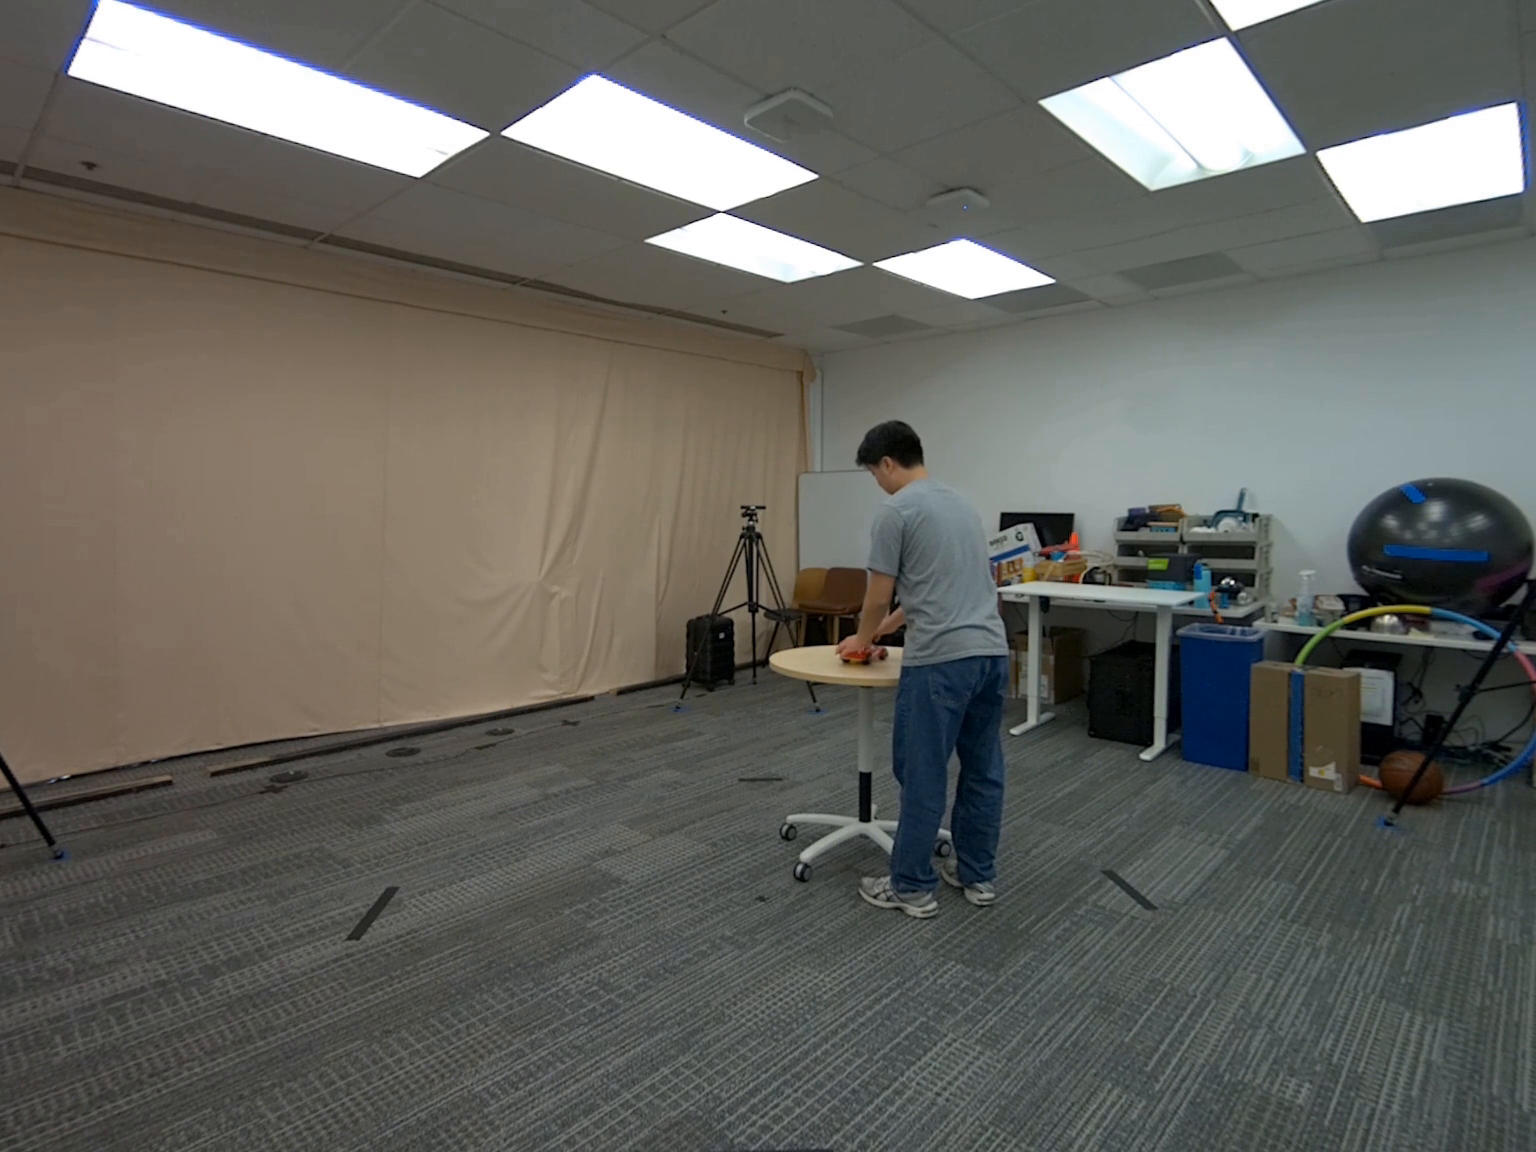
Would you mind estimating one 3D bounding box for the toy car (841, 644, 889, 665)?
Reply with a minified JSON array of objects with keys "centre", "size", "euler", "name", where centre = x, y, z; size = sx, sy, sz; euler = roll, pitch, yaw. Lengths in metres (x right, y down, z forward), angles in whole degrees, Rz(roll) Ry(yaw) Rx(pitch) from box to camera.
[{"centre":[0.377,0.306,3.288],"size":[0.134,0.083,0.246],"euler":[4,-5,34],"name":"toy car"}]
